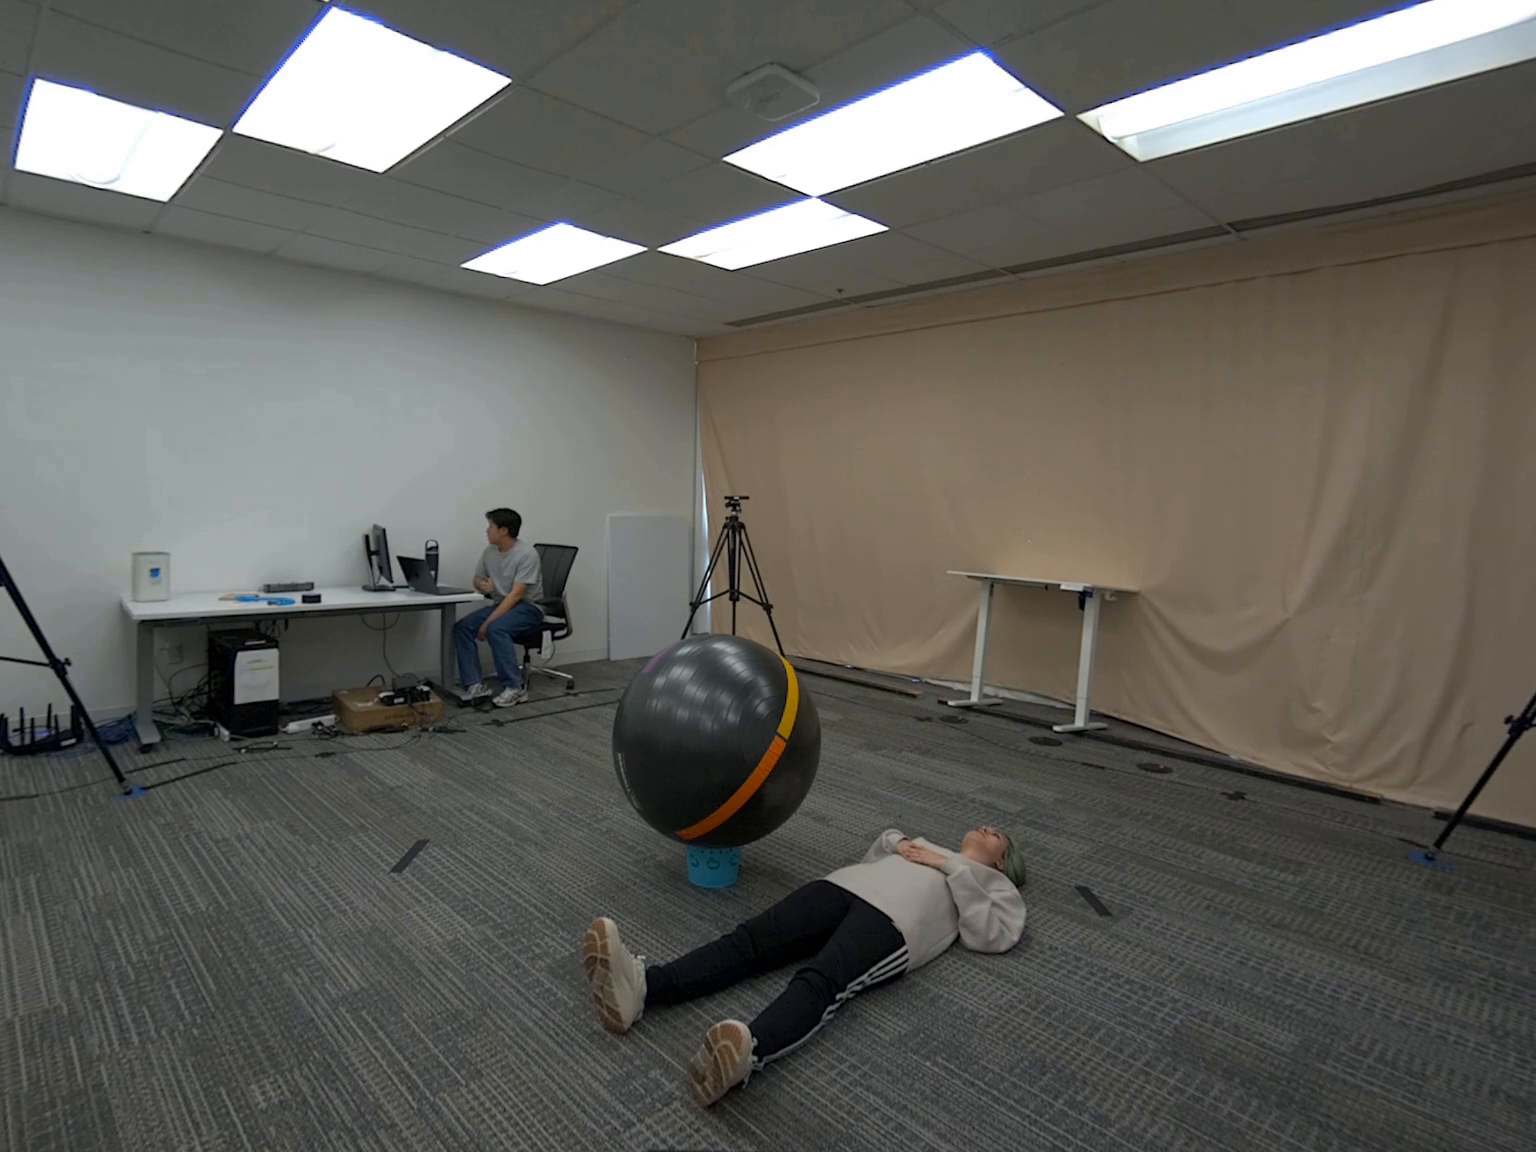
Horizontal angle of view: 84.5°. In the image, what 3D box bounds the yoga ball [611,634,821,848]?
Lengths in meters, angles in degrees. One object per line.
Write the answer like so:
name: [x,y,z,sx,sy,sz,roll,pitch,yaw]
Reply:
yoga ball: [-0.191,0.594,3.063,0.757,0.756,0.761,1,4,-1]
